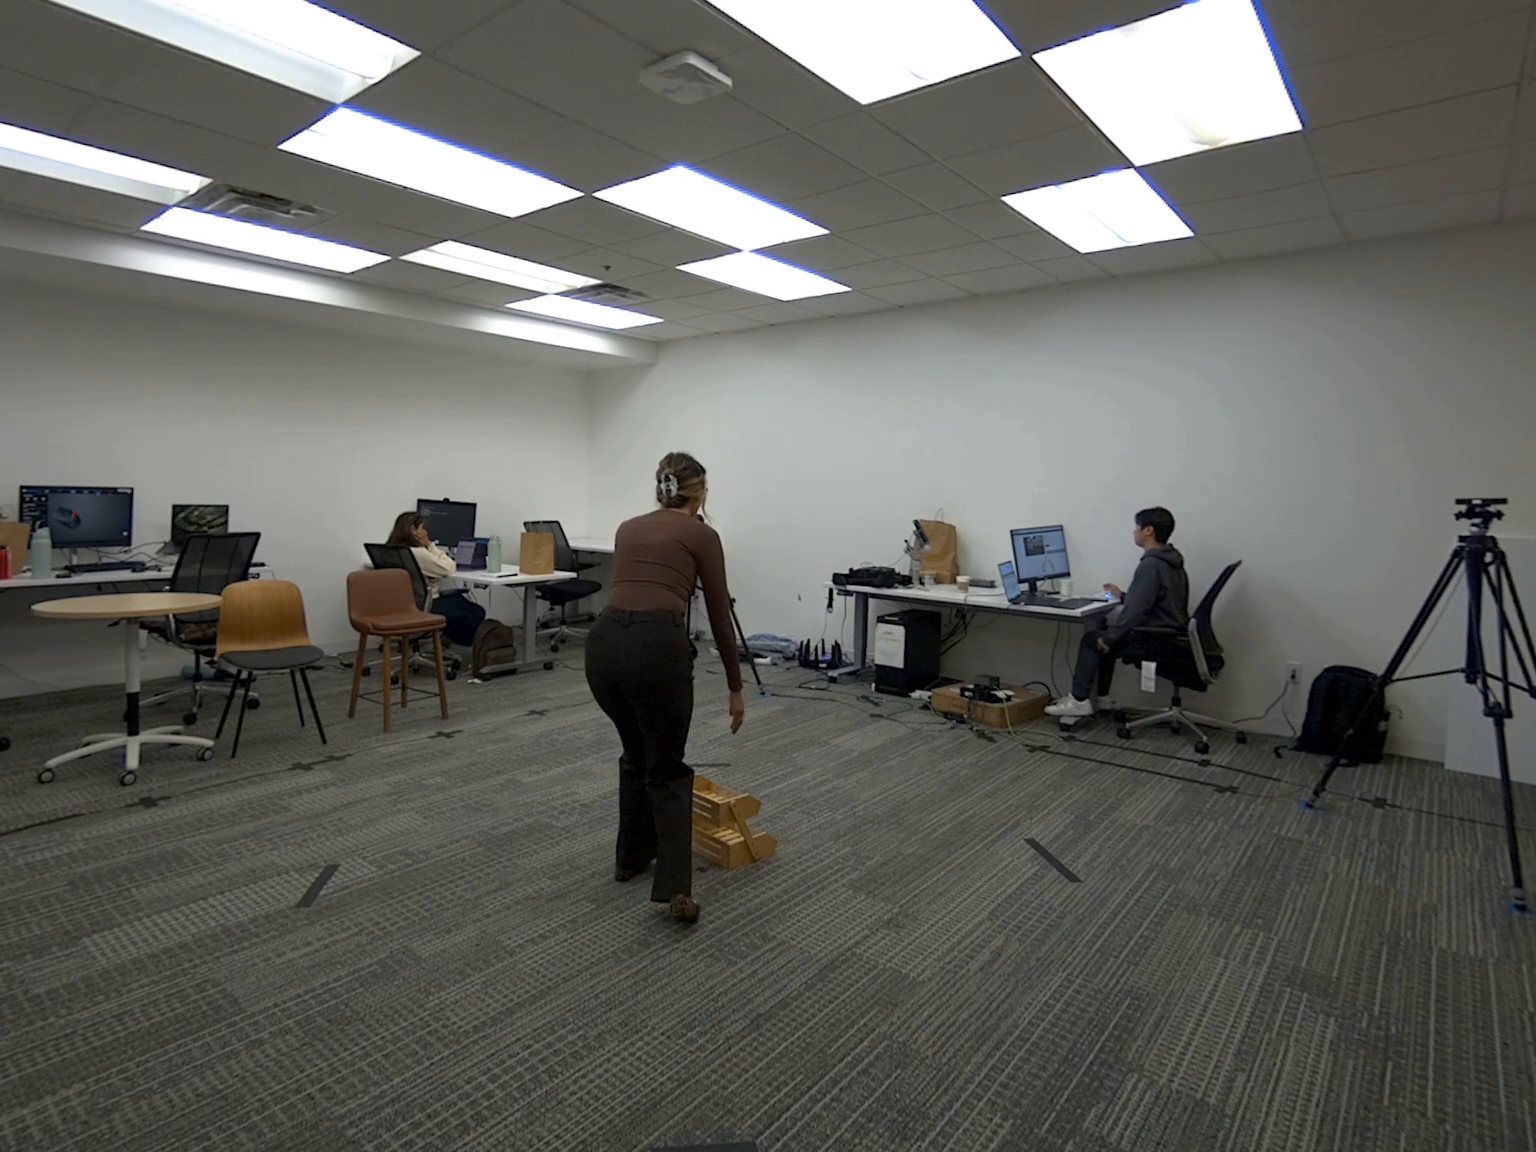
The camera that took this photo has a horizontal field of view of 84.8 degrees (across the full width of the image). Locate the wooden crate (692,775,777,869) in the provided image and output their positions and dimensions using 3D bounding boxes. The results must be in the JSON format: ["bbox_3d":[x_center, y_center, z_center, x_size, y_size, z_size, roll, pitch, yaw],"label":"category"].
[{"bbox_3d":[-0.184,0.918,3.275,0.293,0.272,0.335,-4,6,-43],"label":"wooden crate"}]
